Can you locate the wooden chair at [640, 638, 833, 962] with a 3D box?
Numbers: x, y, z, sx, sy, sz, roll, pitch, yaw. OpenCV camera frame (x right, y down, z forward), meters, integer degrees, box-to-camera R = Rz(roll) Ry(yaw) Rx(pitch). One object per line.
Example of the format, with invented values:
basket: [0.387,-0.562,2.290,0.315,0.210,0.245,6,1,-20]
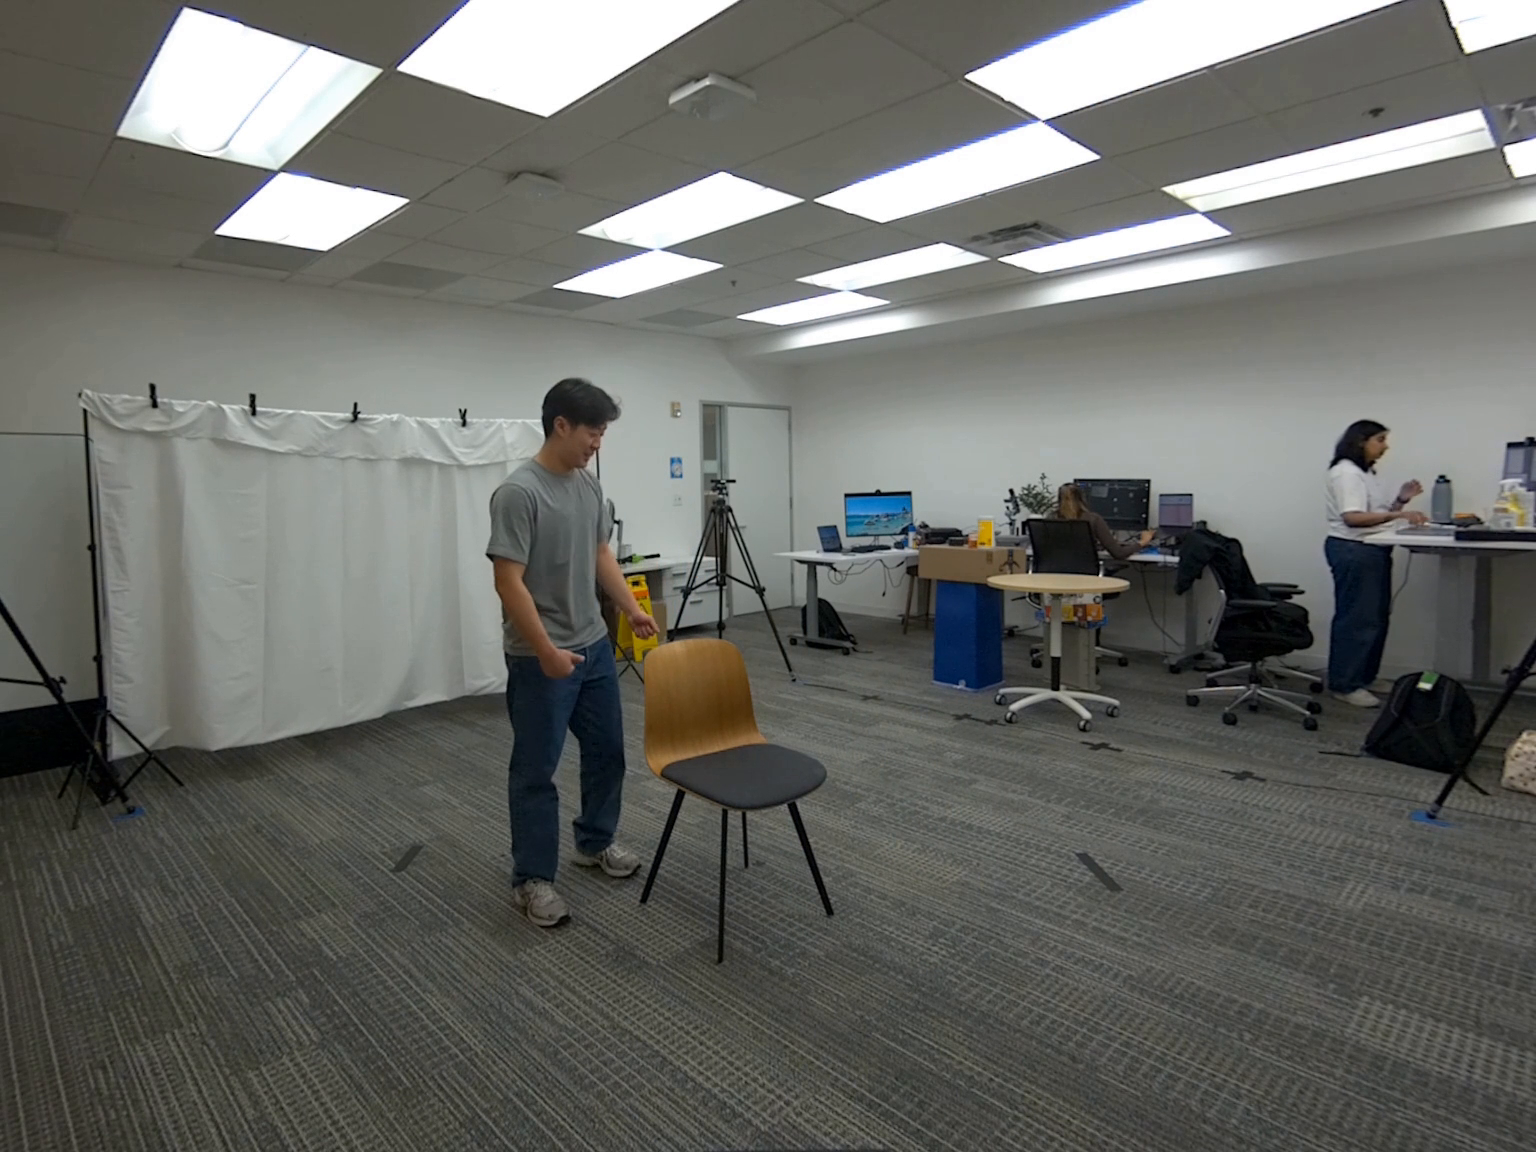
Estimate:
wooden chair: [-0.107,0.661,2.746,0.466,0.877,0.537,-4,1,-38]
